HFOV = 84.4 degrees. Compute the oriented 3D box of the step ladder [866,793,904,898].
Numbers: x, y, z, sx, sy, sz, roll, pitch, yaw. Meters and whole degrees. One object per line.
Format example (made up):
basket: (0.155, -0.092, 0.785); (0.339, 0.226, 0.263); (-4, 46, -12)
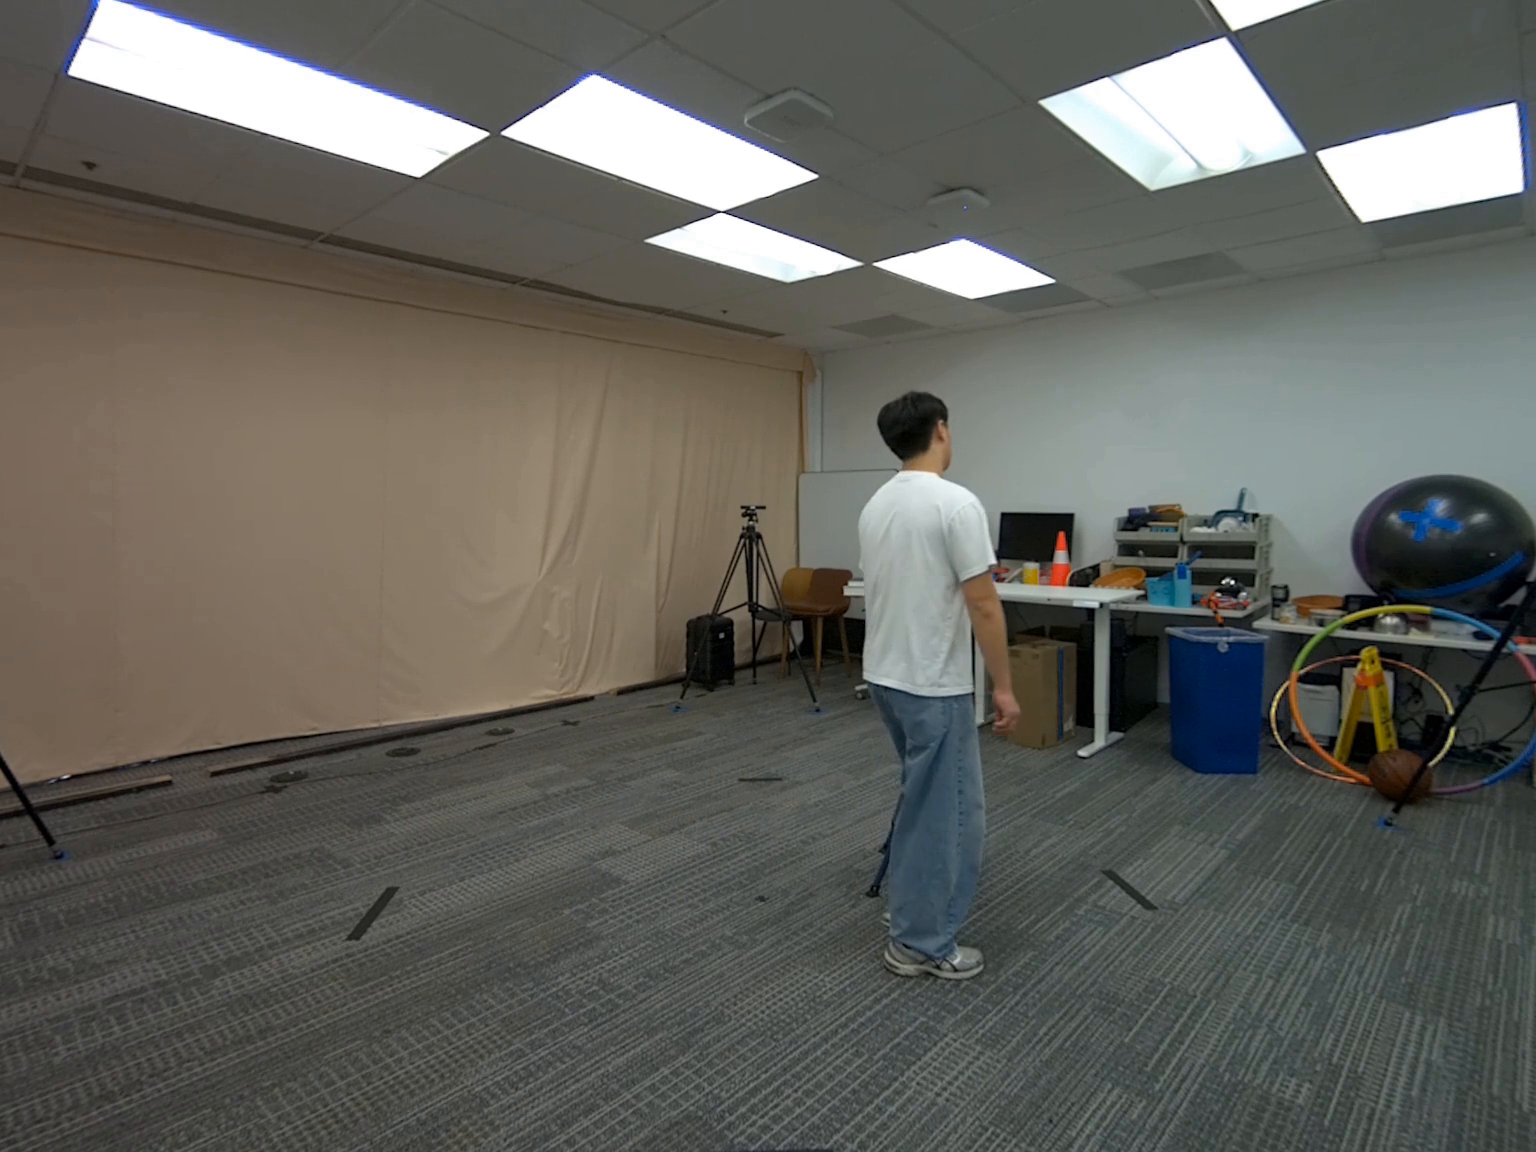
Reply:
step ladder: (0.576, 0.825, 3.134); (0.355, 0.605, 0.424); (0, 3, 15)
